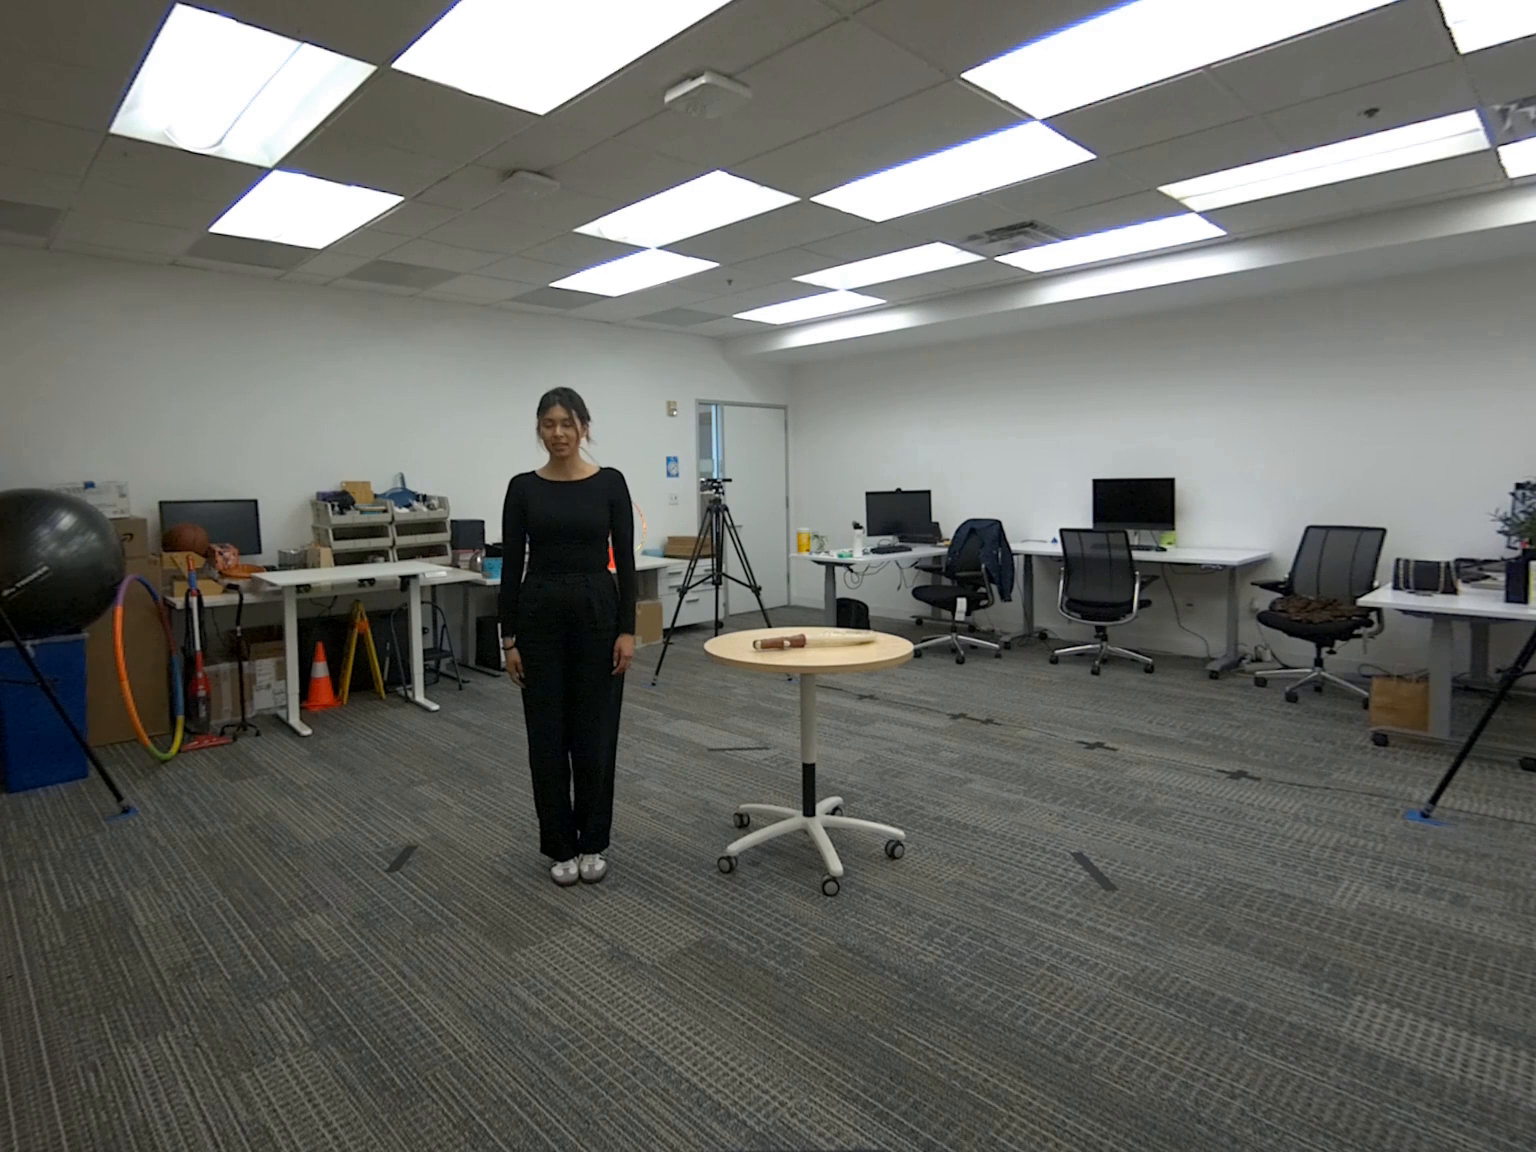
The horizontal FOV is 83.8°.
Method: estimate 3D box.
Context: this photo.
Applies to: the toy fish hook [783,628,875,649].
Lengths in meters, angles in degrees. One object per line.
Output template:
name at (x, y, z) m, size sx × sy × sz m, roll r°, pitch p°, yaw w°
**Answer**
toy fish hook at (0.152, 0.237, 3.166) m, size 0.497 × 0.048 × 0.229 m, roll -1°, pitch 1°, yaw -21°
